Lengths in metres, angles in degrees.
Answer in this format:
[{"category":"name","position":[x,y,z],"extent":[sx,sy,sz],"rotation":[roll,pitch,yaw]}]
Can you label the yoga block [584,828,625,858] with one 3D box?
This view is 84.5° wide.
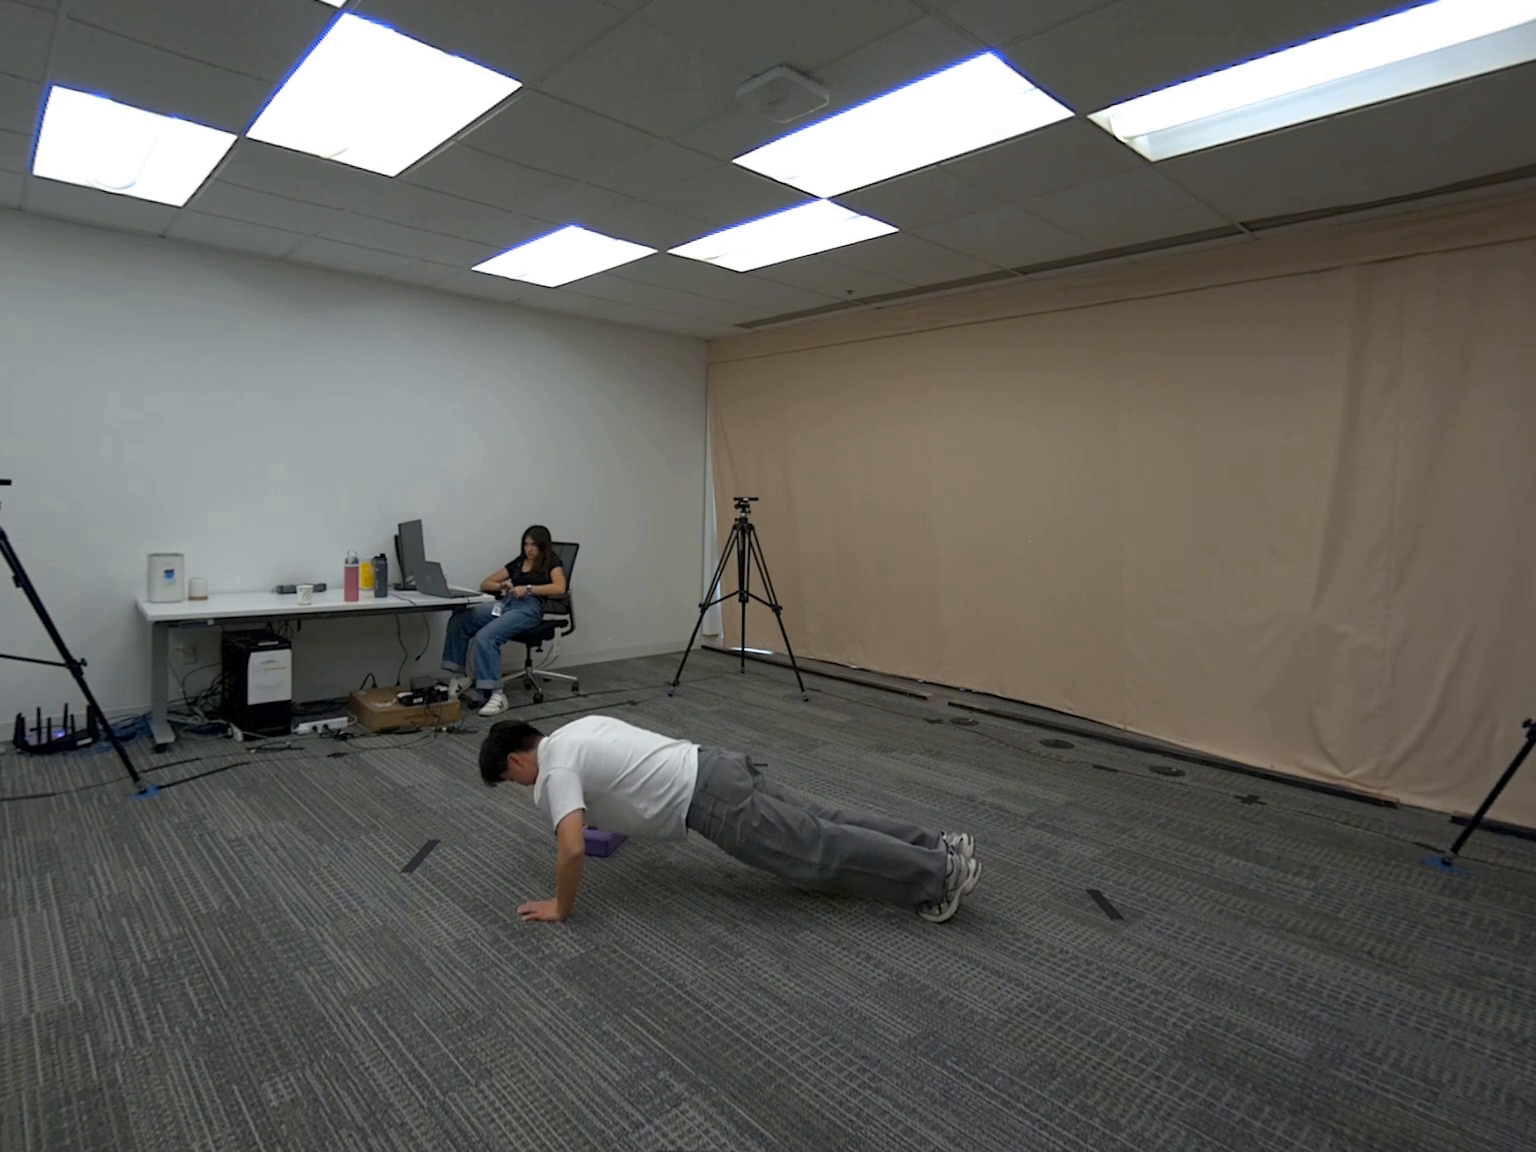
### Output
[{"category":"yoga block","position":[-0.675,1.041,3.362],"extent":[0.151,0.076,0.227],"rotation":[4,6,13]}]
